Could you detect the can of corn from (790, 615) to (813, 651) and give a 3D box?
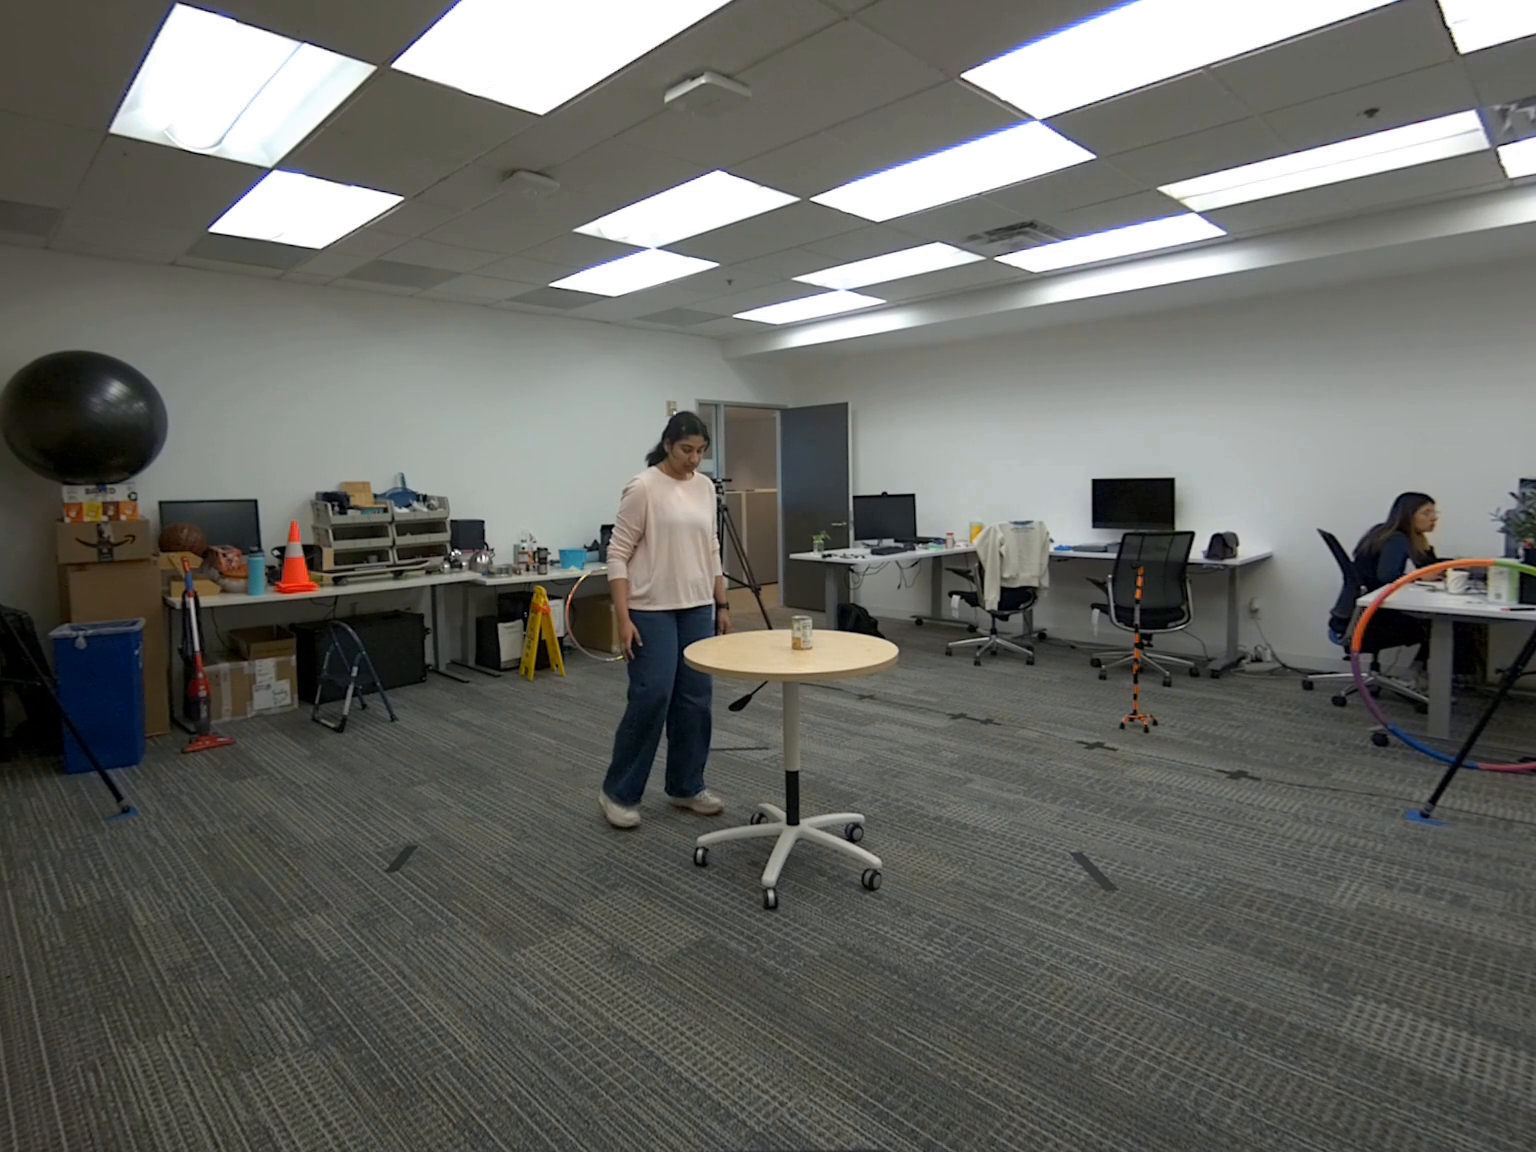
[{"bbox_3d":[0.121,0.203,3.074,0.074,0.110,0.074,-2,5,-2],"label":"can of corn"}]
